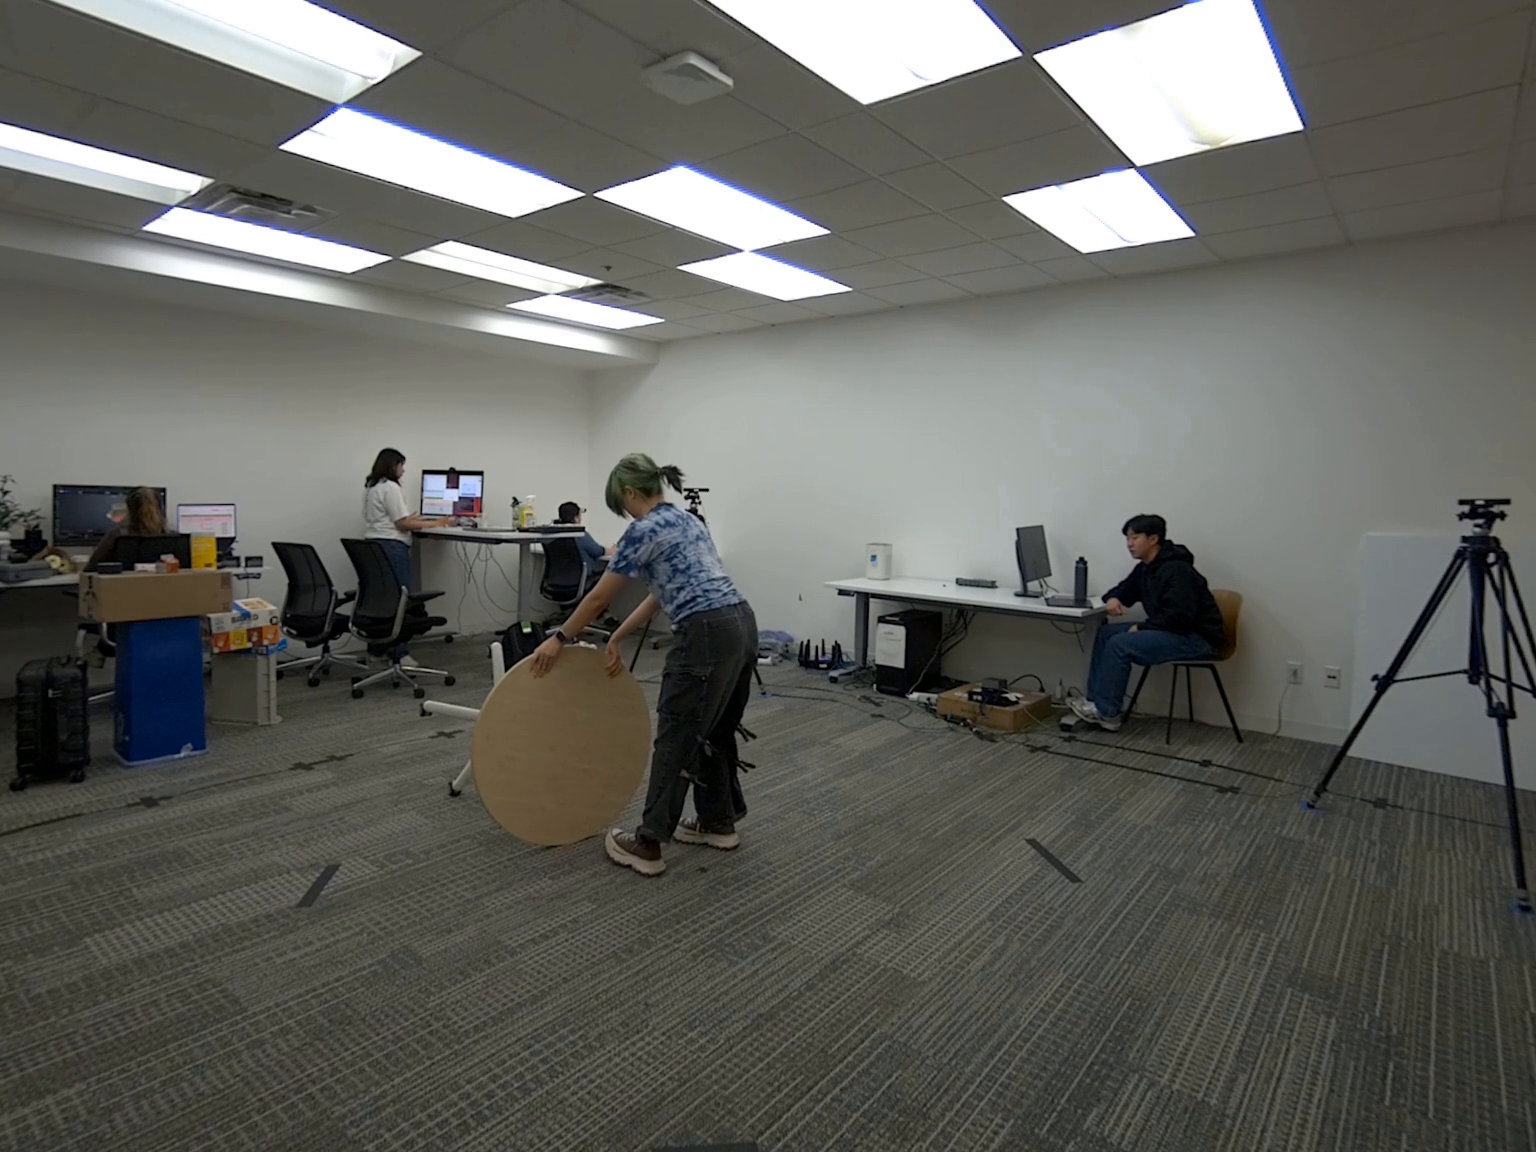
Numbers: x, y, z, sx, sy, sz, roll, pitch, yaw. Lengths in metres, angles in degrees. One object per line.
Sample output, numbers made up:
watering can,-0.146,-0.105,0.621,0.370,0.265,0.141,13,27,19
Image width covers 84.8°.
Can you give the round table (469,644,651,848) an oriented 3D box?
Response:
round table,-1.046,0.665,3.653,0.741,0.765,0.817,-2,-1,-38
